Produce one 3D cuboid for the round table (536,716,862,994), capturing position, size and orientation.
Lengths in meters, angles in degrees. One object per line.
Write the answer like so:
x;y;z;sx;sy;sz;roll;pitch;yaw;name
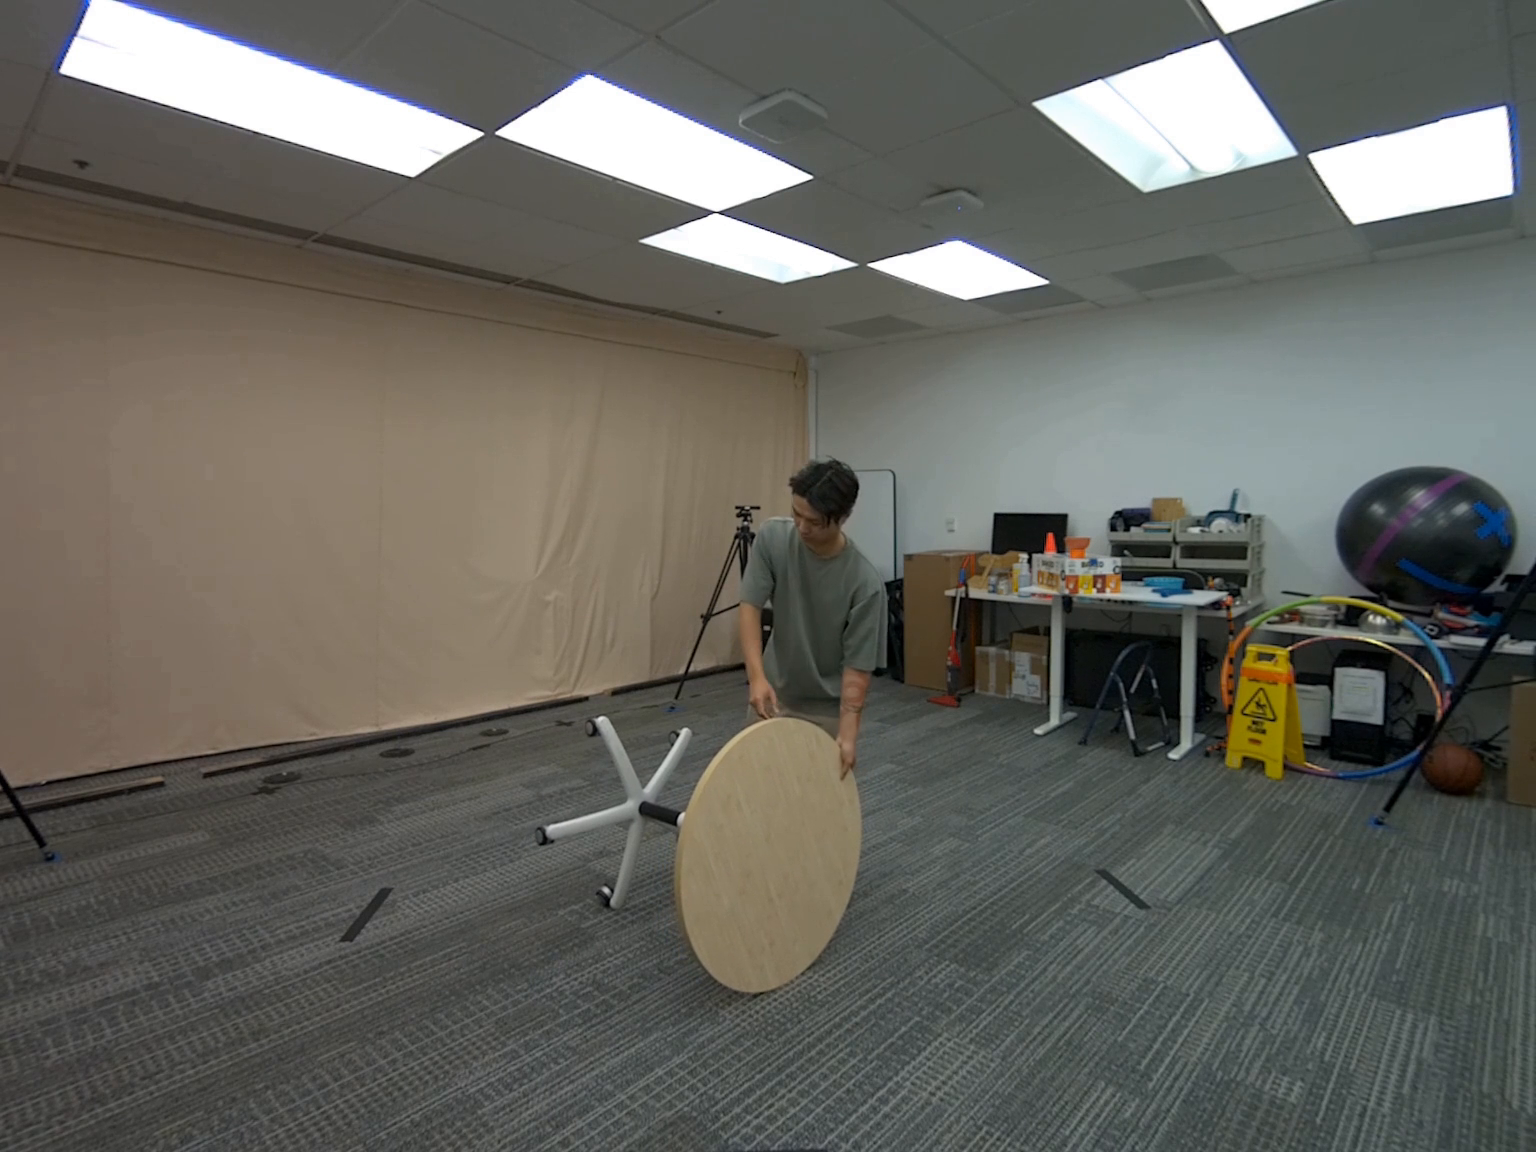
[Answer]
-0.254;0.812;2.742;0.761;0.785;0.811;-4;1;-44;round table
